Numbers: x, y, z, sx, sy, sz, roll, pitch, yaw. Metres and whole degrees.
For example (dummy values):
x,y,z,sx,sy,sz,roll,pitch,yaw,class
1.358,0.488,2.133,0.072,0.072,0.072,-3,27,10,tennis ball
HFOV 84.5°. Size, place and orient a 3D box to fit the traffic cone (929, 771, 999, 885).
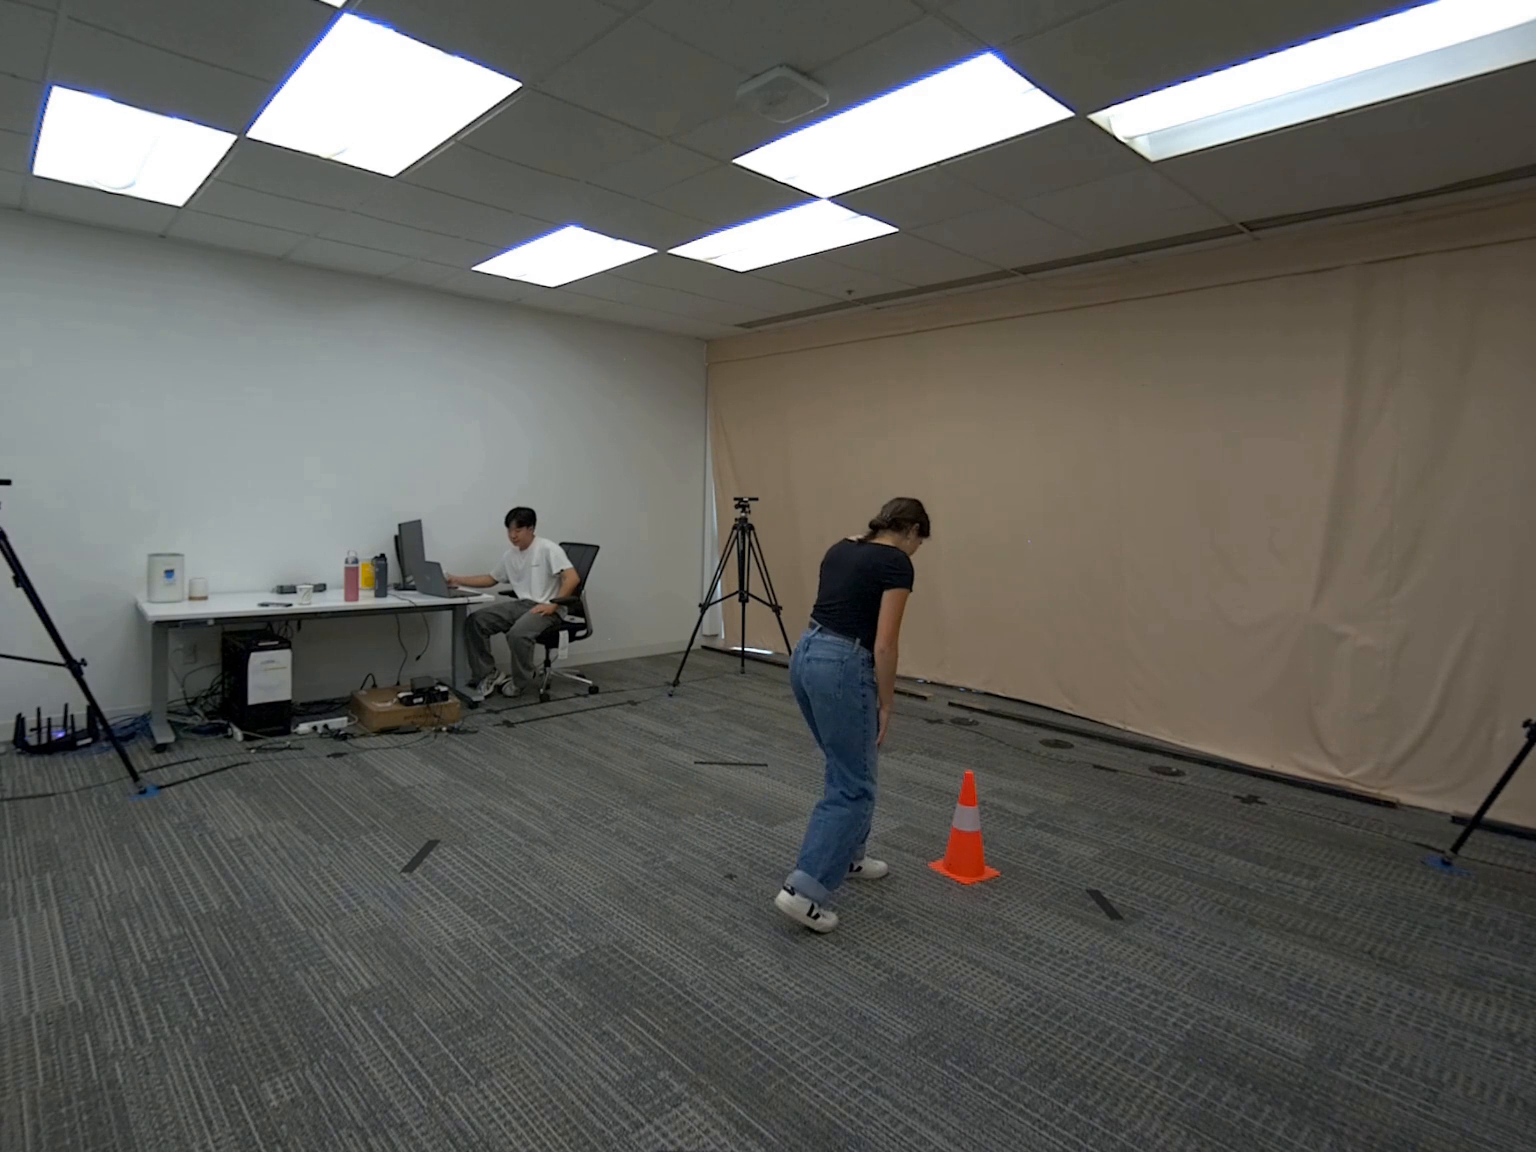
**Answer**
x,y,z,sx,sy,sz,roll,pitch,yaw,class
0.746,0.935,3.204,0.199,0.383,0.210,0,4,-30,traffic cone
